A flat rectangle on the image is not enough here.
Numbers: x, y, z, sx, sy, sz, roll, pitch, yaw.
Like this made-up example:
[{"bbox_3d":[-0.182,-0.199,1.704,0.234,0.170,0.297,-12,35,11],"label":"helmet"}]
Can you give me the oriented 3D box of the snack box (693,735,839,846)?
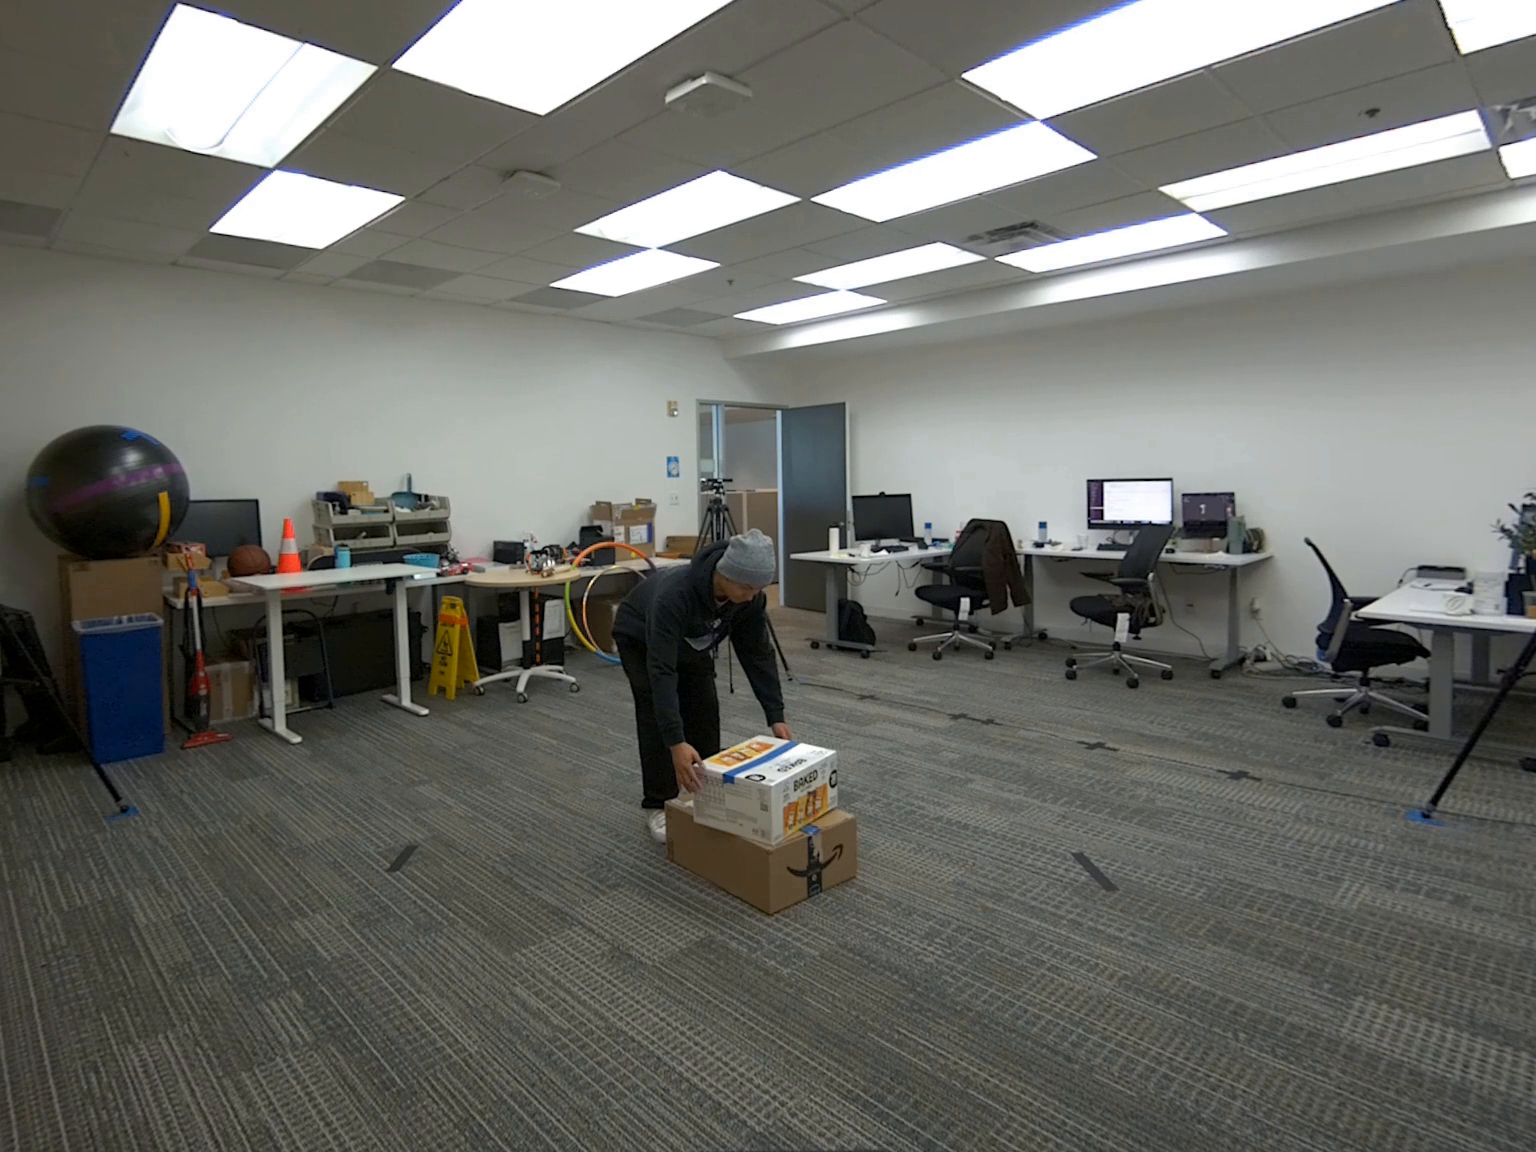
[{"bbox_3d":[-0.004,0.737,2.993,0.350,0.205,0.395,3,8,37],"label":"snack box"}]
